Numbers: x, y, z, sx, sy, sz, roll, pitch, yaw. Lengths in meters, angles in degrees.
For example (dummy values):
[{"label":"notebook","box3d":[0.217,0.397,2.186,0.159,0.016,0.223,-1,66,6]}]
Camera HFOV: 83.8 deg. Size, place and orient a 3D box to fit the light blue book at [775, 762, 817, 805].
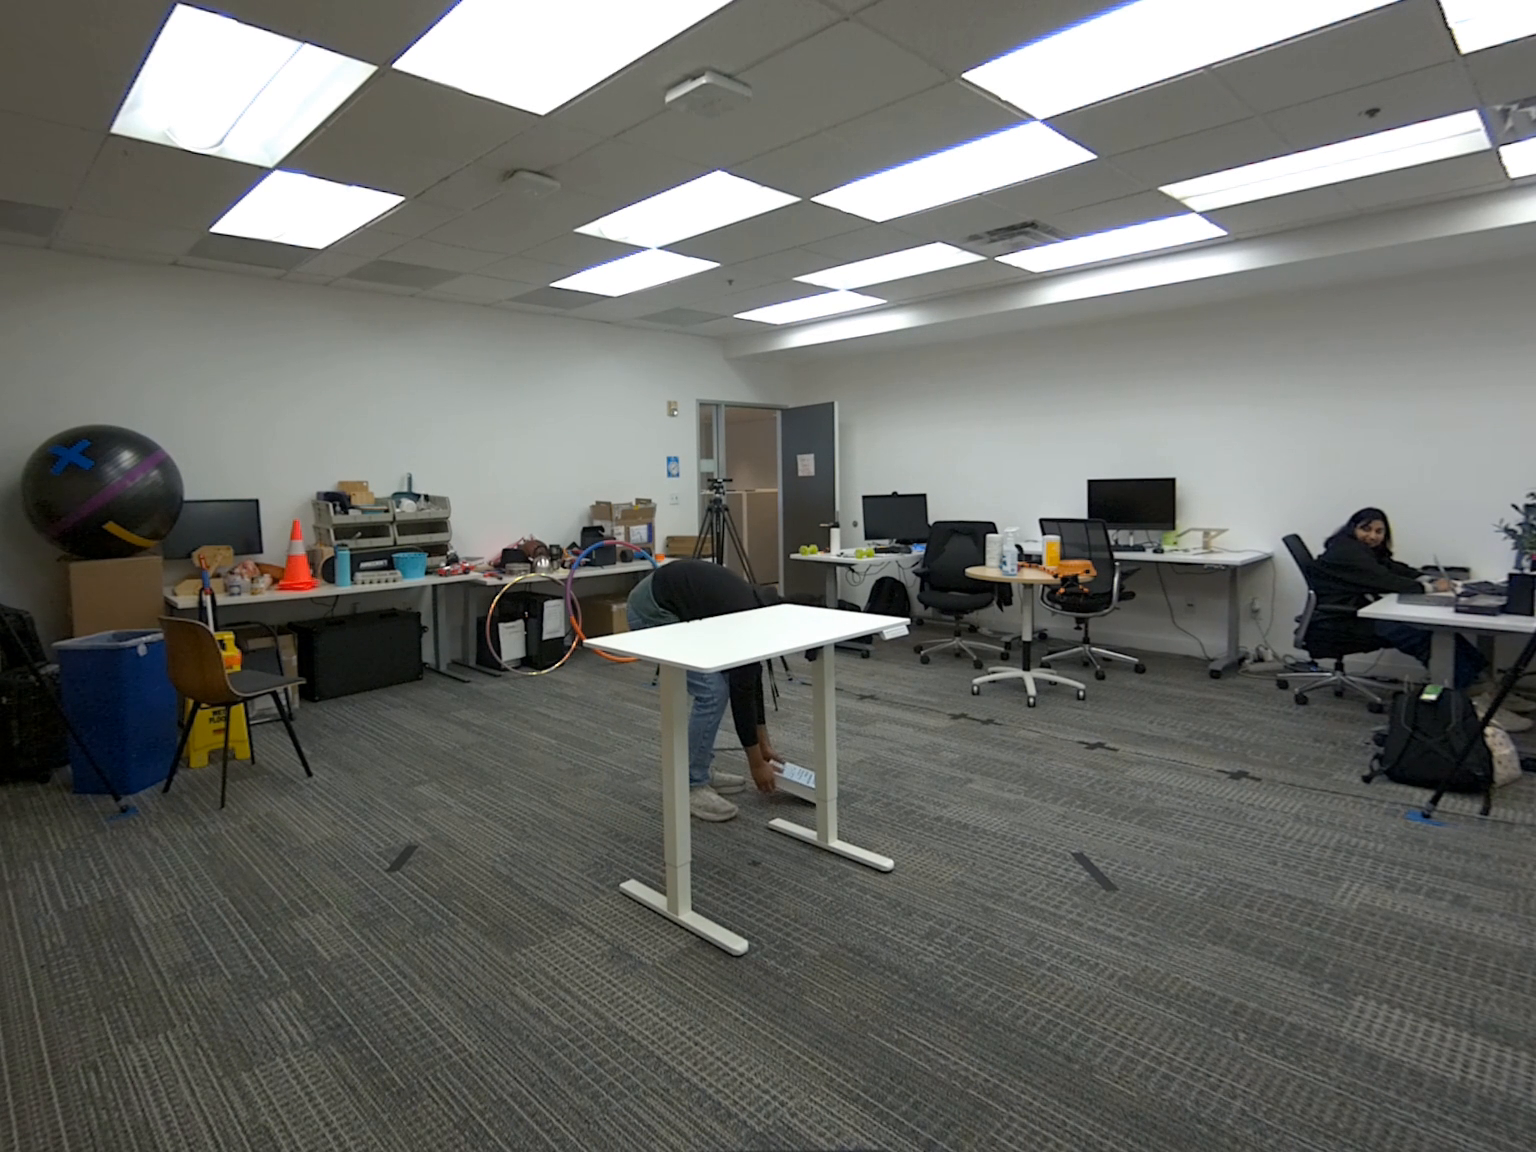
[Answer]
[{"label":"light blue book","box3d":[0.132,0.873,3.710,0.264,0.059,0.190,15,7,10]}]
